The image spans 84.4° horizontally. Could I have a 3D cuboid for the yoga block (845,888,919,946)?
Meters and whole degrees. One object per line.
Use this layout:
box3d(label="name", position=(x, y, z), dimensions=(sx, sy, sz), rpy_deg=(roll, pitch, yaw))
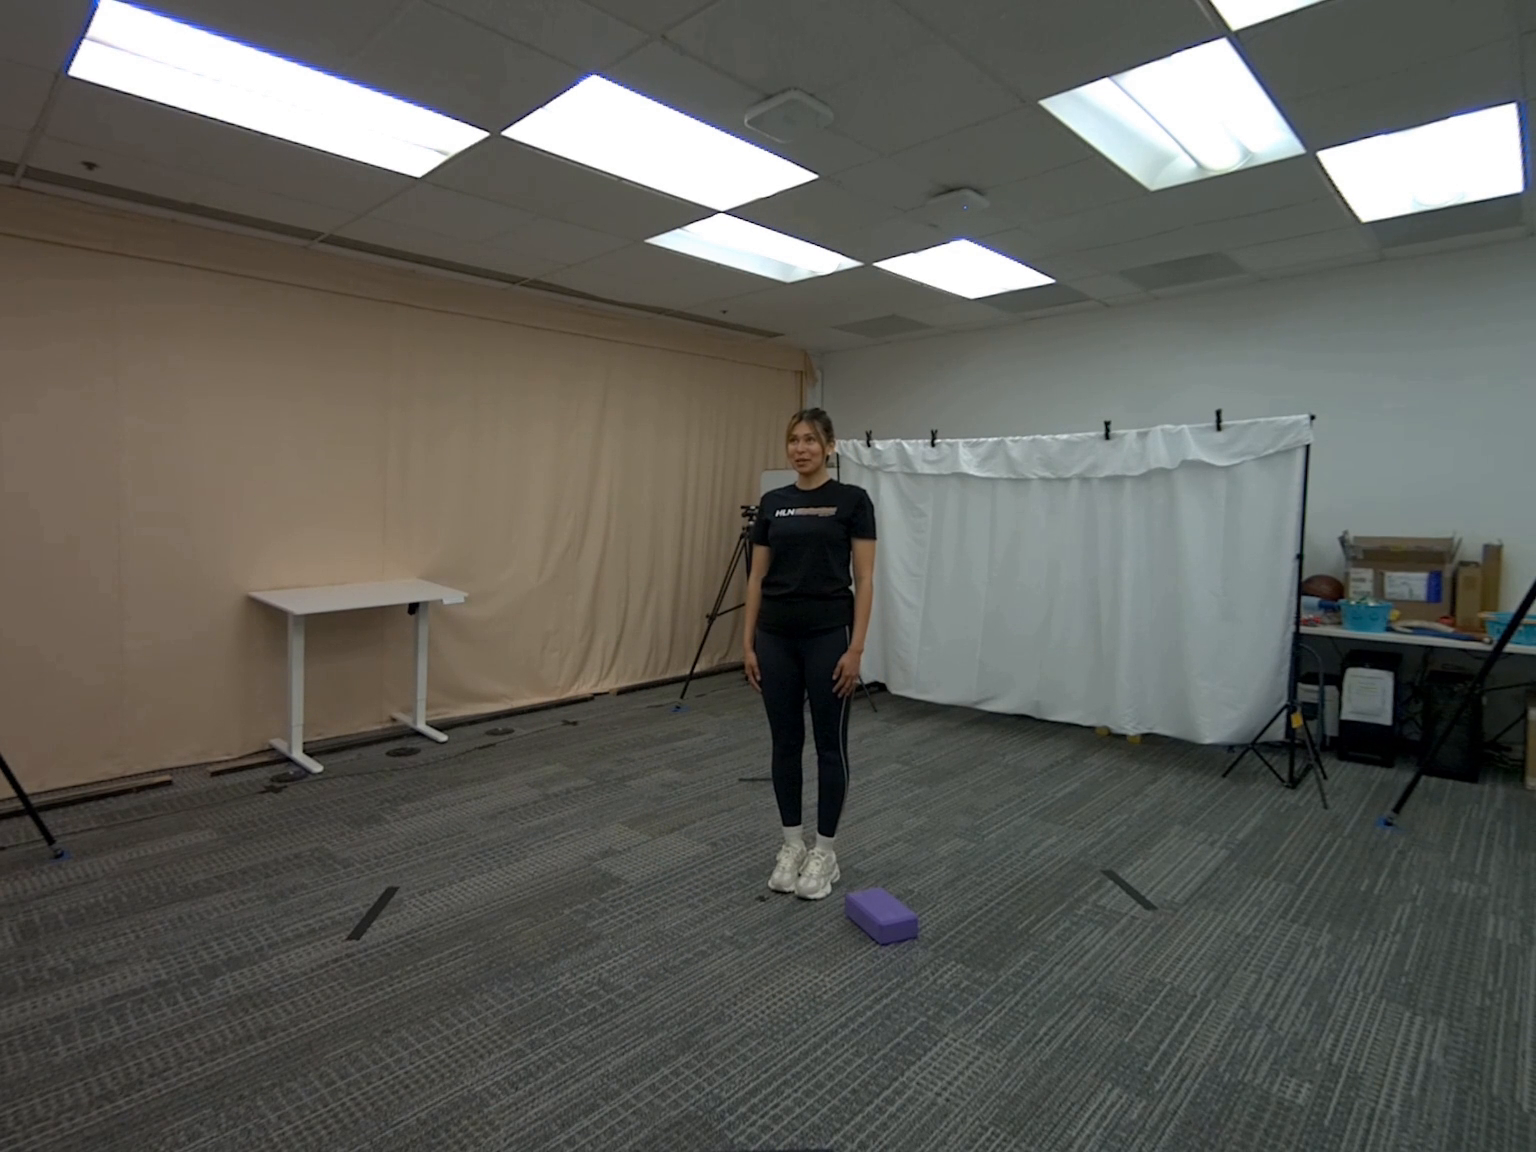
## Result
box3d(label="yoga block", position=(0.379, 1.119, 2.782), dimensions=(0.146, 0.076, 0.235), rpy_deg=(-3, 5, -24))
